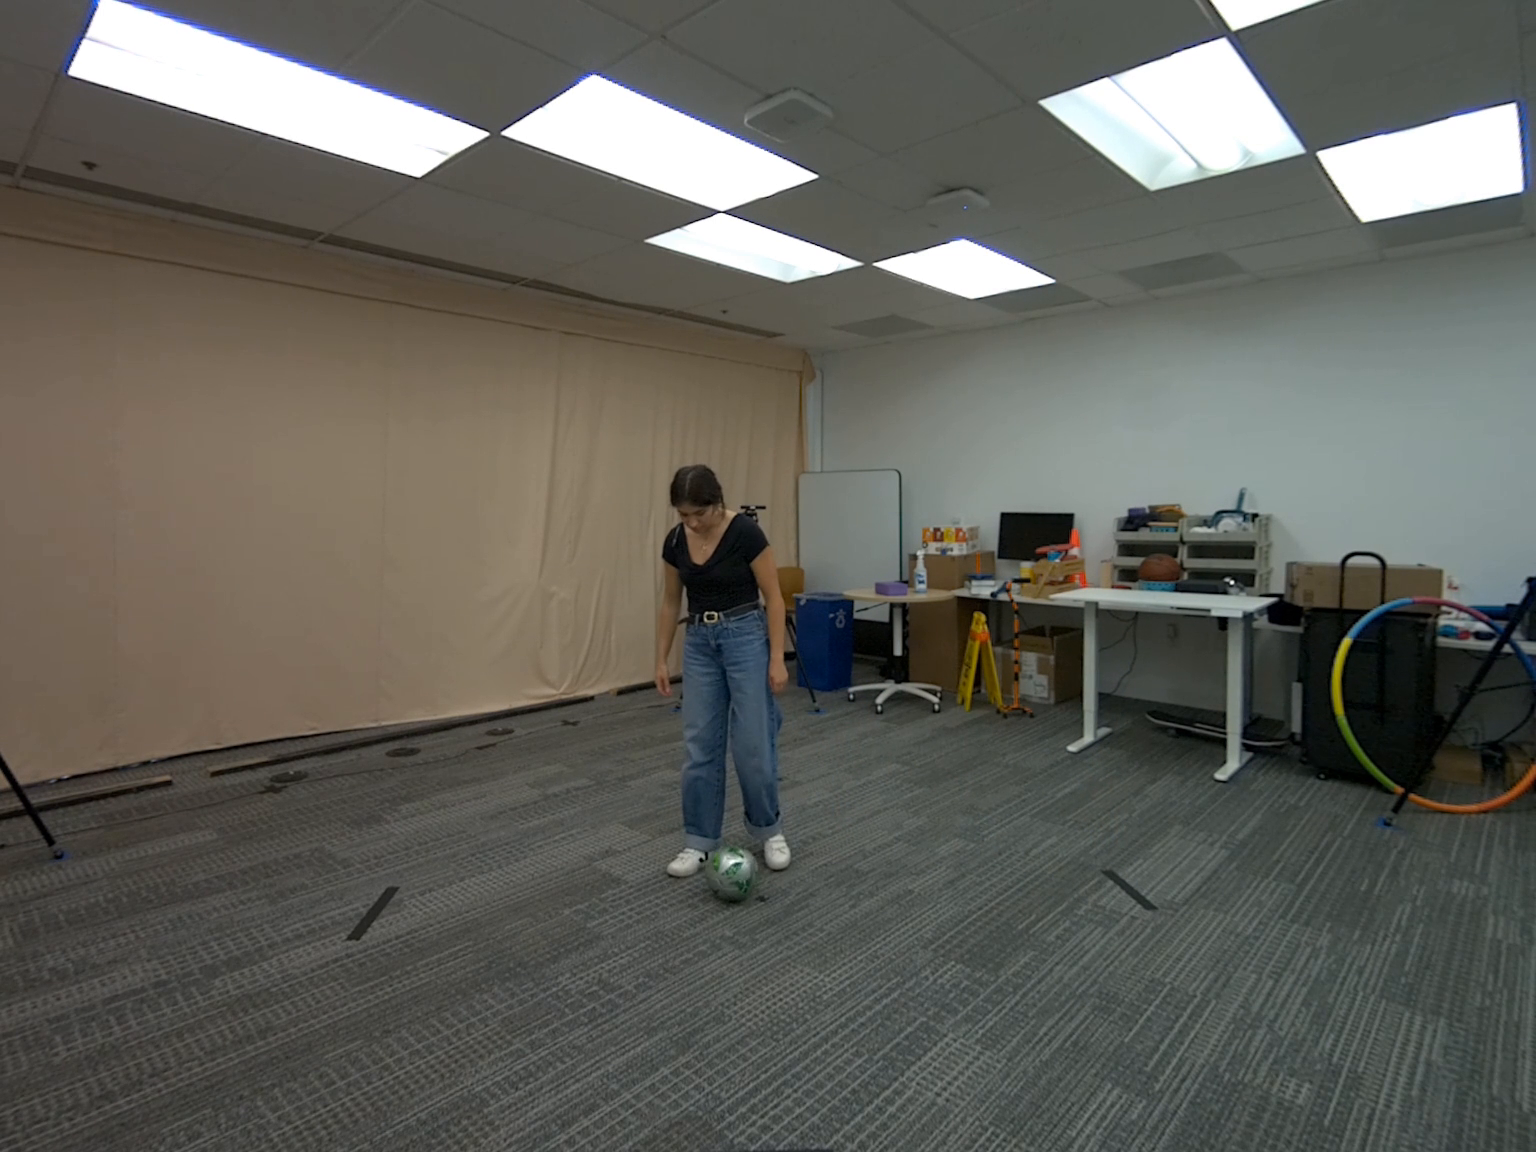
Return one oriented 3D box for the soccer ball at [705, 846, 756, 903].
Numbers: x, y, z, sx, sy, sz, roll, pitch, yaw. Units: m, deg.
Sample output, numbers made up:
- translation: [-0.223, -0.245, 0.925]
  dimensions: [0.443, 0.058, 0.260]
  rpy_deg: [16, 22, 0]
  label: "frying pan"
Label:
- translation: [-0.129, 1.048, 2.983]
  dimensions: [0.187, 0.187, 0.188]
  rpy_deg: [0, 4, -2]
  label: "soccer ball"
